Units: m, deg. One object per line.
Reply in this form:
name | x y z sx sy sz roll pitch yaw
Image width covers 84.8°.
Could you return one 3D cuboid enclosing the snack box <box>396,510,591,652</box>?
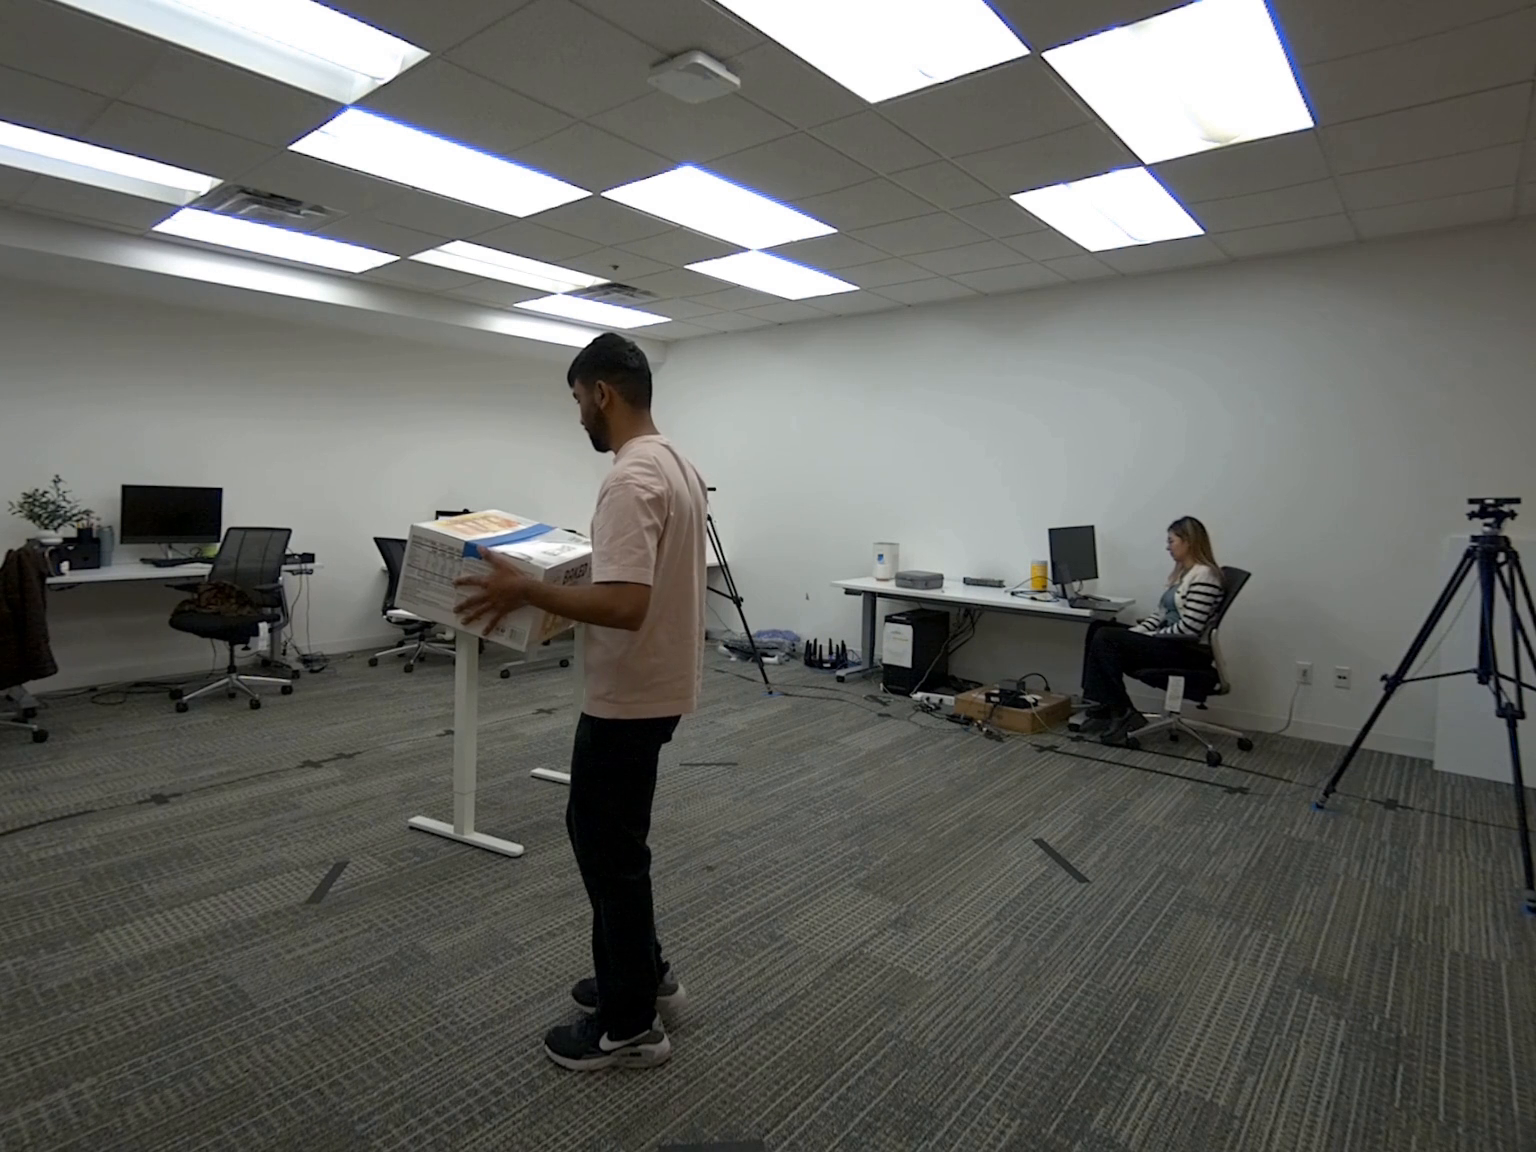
snack box | -0.631 -0.004 2.097 0.343 0.204 0.405 16 11 4
